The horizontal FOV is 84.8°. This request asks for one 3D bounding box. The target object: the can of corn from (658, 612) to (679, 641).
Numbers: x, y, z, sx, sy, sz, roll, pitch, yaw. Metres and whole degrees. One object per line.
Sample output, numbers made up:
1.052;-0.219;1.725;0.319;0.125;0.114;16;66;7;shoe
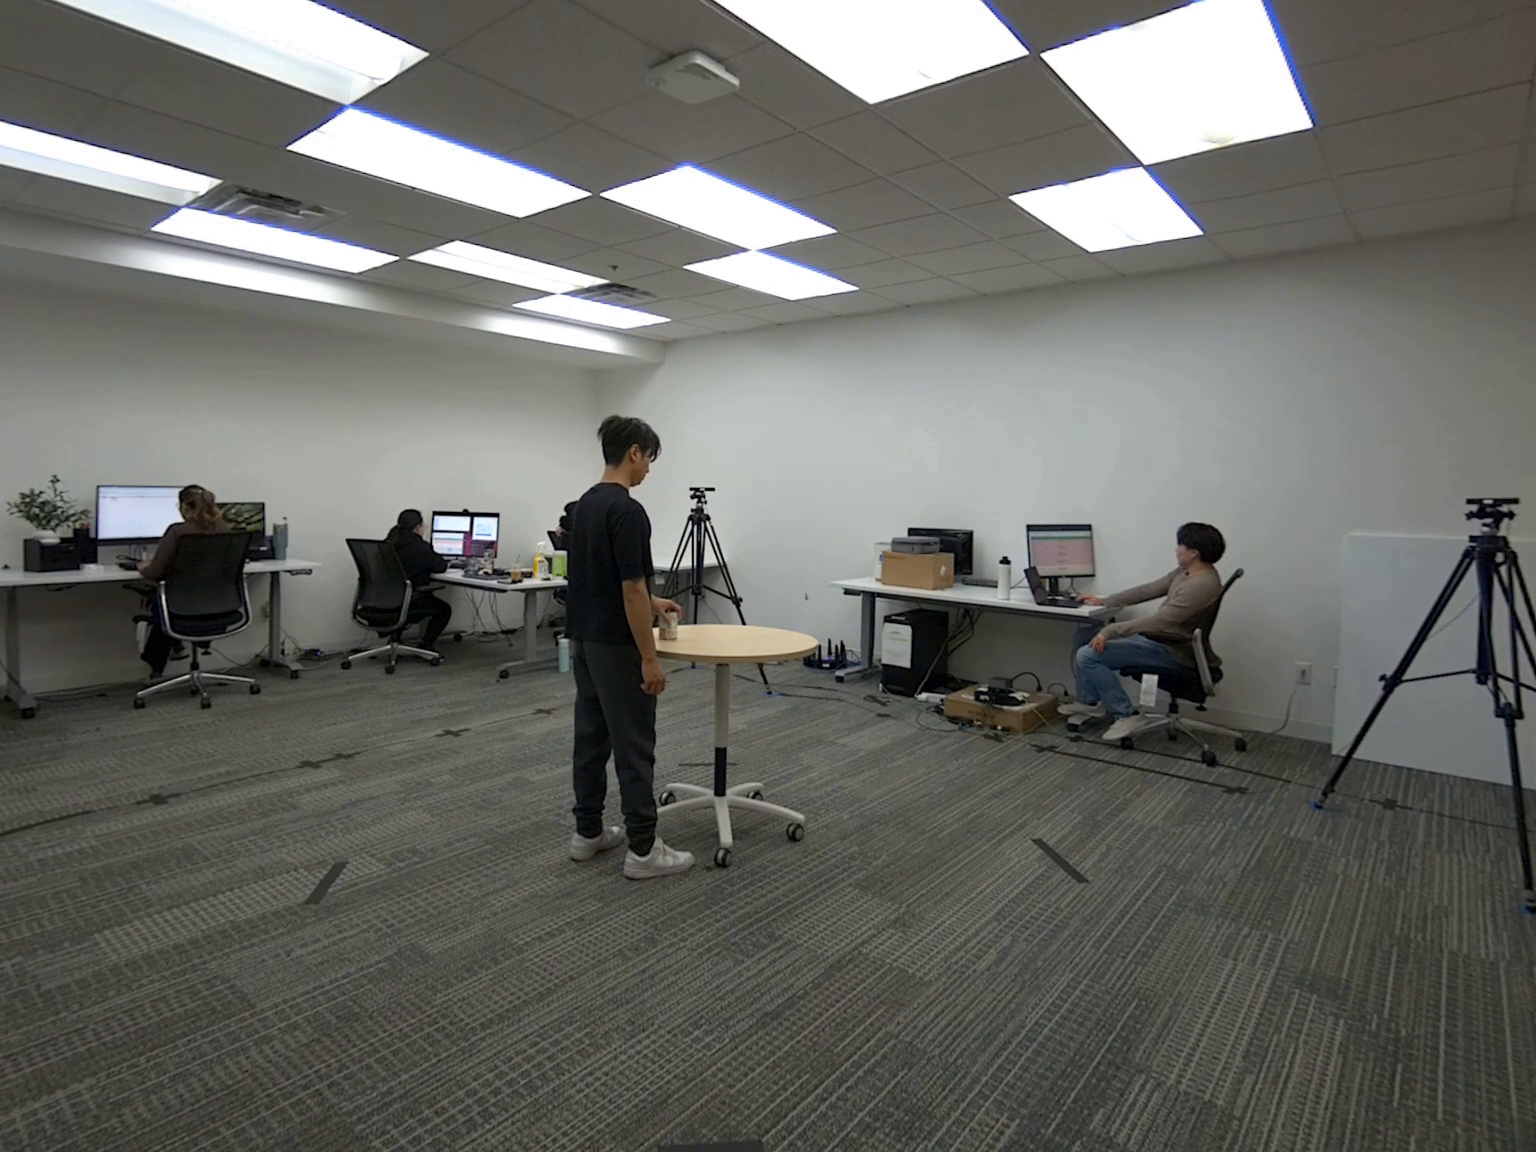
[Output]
-0.405;0.190;3.425;0.074;0.110;0.074;-4;4;-1;can of corn
